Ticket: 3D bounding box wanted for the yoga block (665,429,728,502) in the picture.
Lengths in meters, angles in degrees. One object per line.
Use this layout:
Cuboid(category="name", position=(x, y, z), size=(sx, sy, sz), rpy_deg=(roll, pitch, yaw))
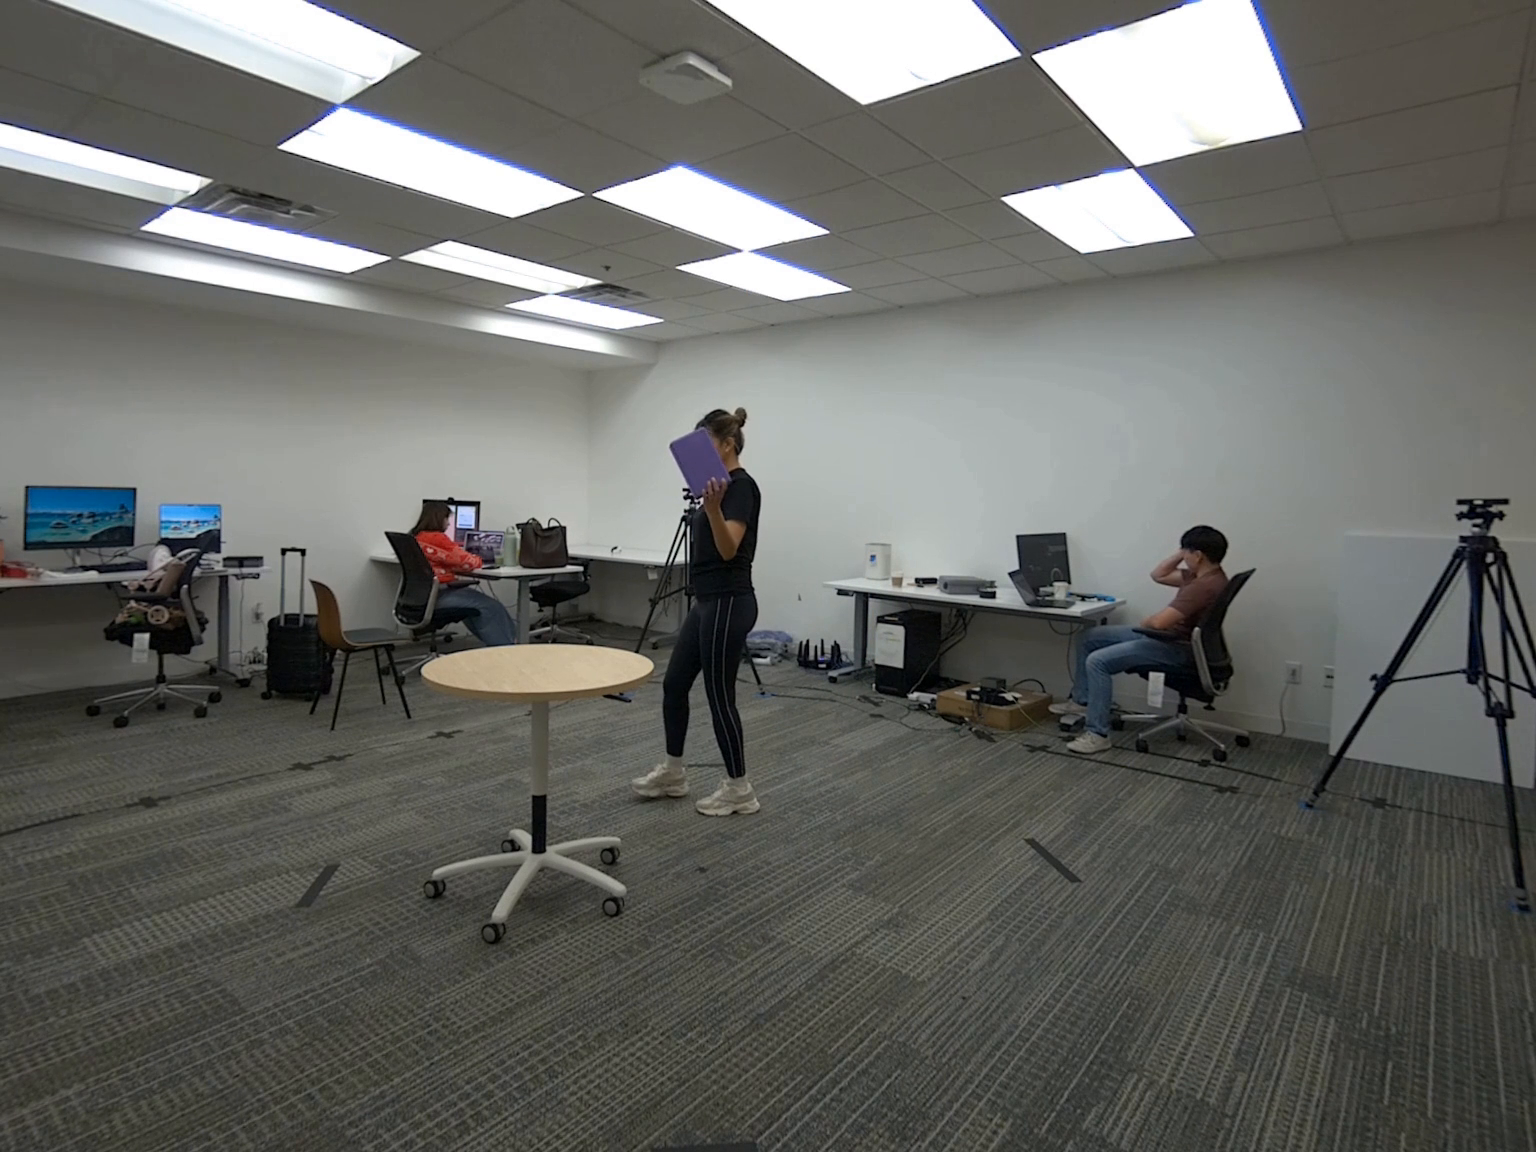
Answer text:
Cuboid(category="yoga block", position=(-0.266, -0.417, 3.140), size=(0.148, 0.229, 0.077), rpy_deg=(-26, 0, -6))
